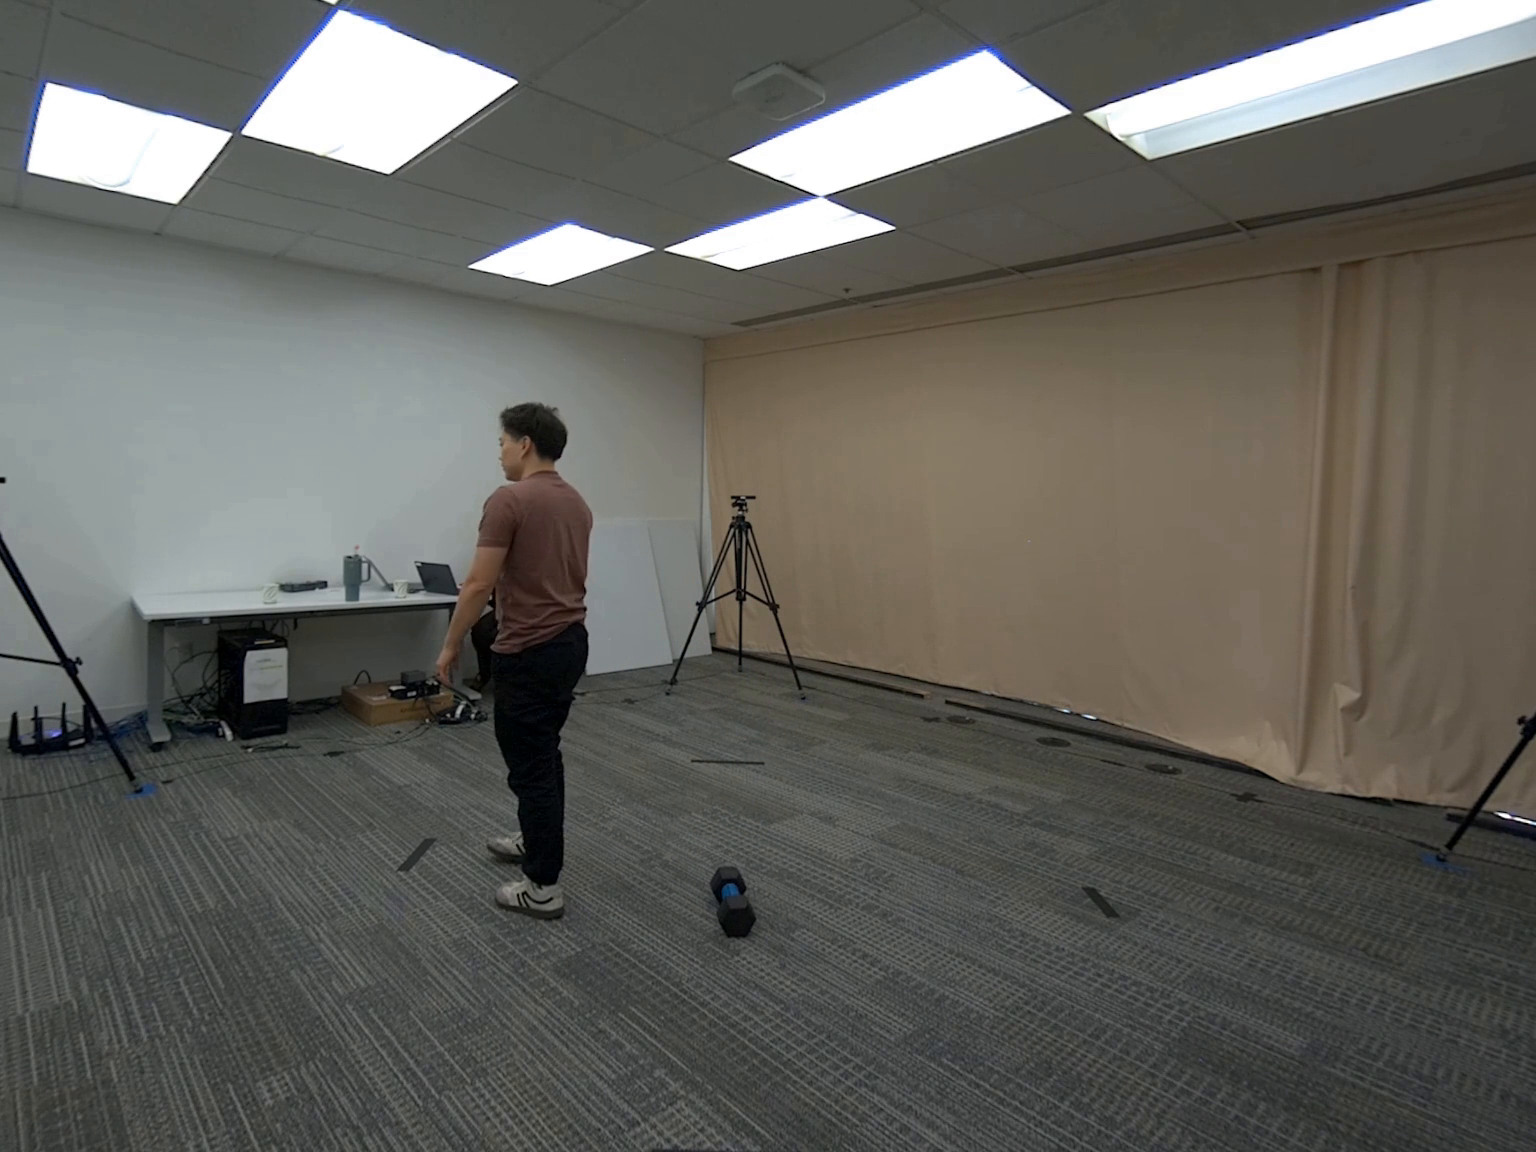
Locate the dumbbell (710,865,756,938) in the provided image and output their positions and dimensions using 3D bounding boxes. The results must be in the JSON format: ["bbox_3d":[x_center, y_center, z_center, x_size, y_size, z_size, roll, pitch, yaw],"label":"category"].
[{"bbox_3d":[-0.125,1.080,2.793,0.107,0.123,0.296,31,0,-10],"label":"dumbbell"}]
